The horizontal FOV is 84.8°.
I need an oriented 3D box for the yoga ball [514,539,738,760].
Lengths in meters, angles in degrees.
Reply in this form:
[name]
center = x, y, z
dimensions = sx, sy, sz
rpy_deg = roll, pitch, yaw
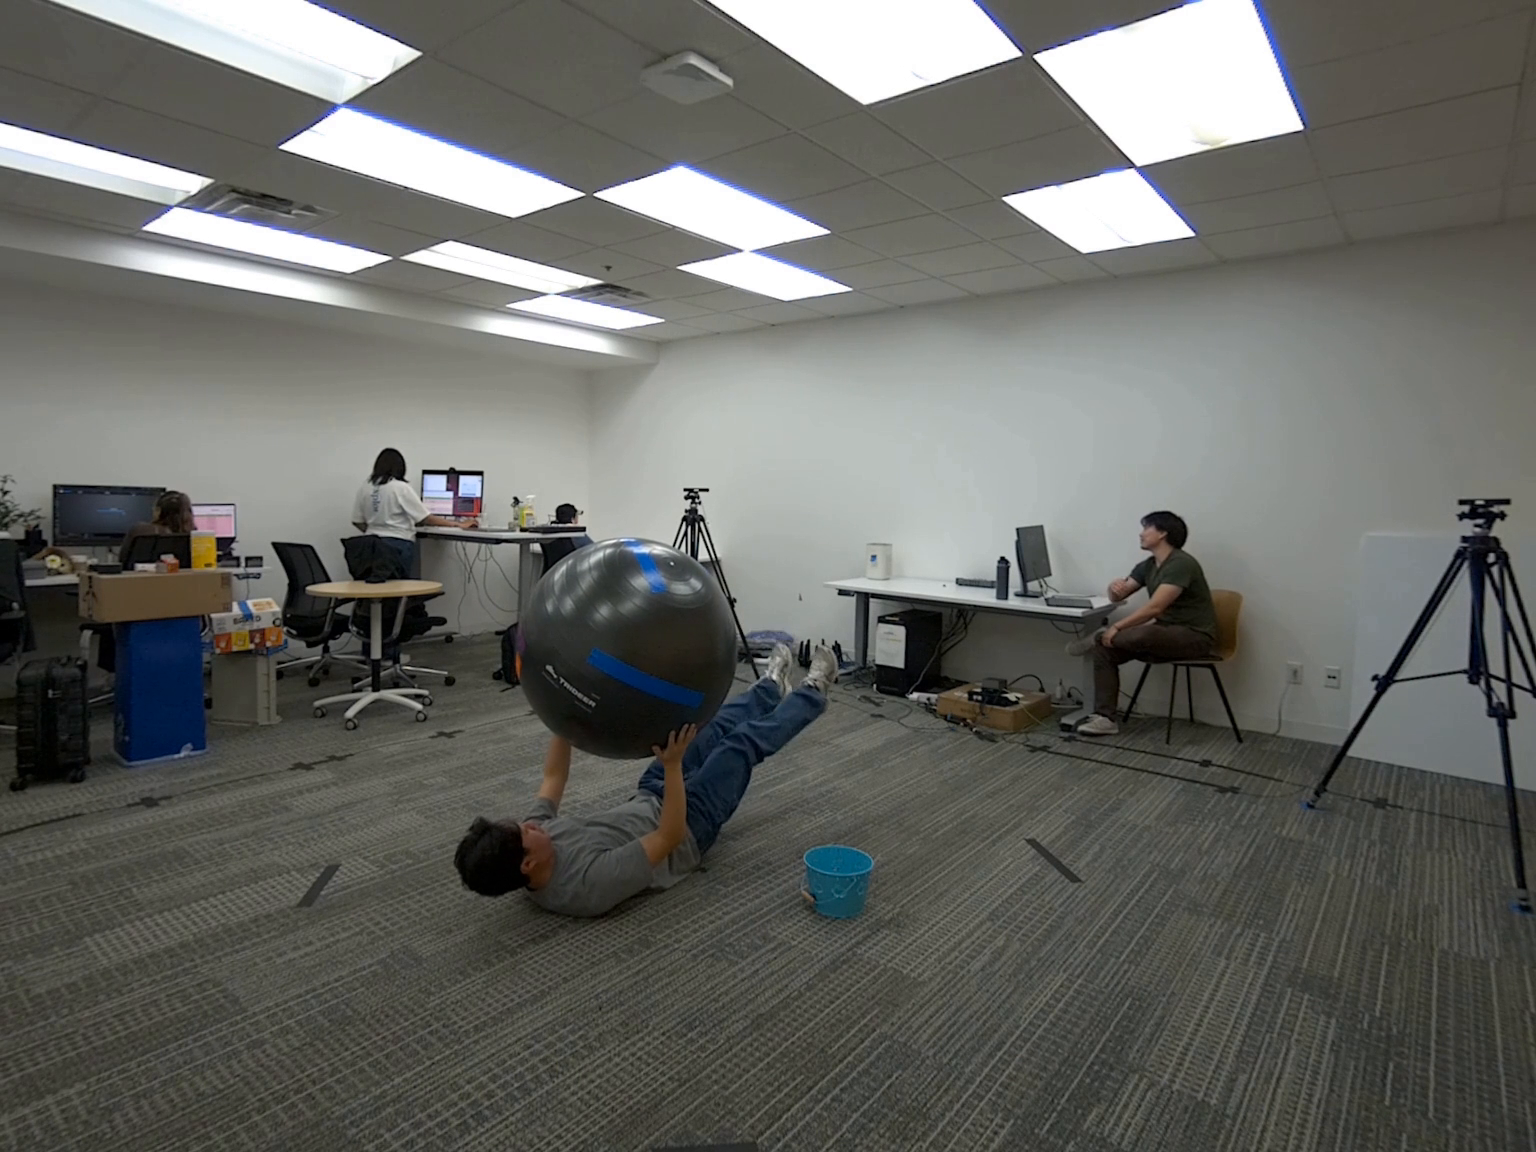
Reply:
[yoga ball]
center = -0.498, 0.251, 2.937
dimensions = 0.757, 0.756, 0.762
rpy_deg = 1, 4, -2
